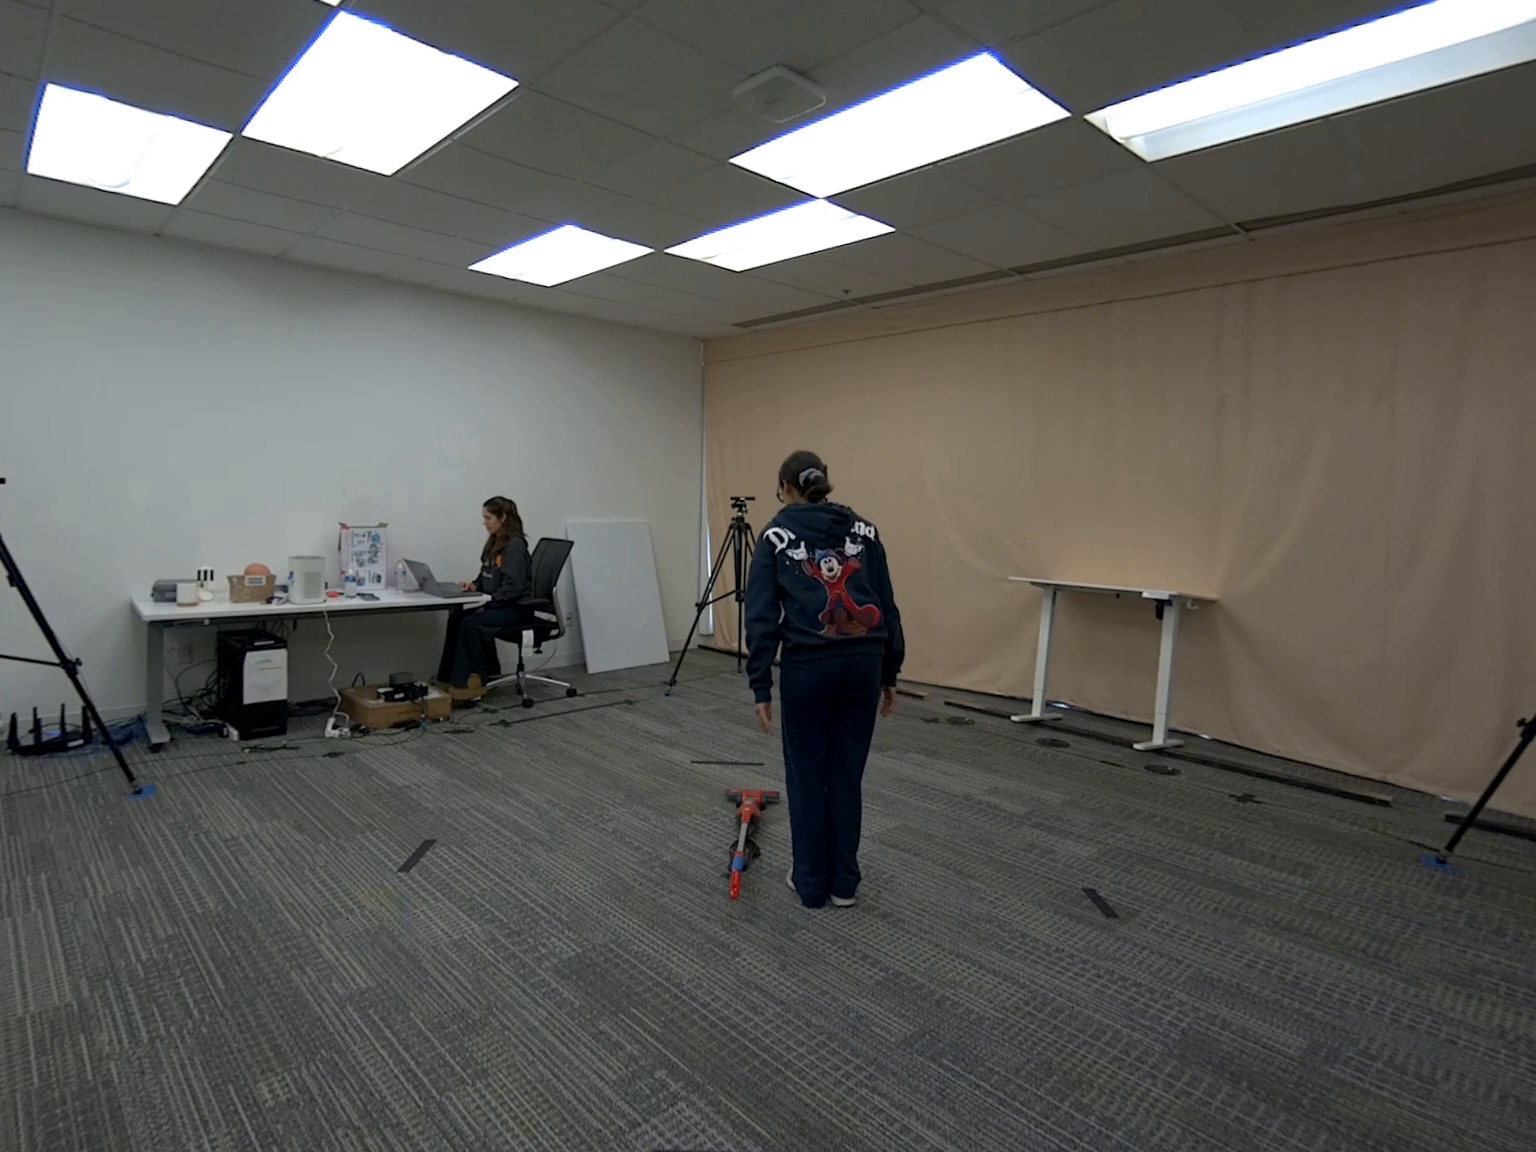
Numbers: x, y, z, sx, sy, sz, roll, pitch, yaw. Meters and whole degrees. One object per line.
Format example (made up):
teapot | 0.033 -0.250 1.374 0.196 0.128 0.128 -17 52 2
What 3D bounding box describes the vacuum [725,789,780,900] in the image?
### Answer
vacuum | -0.104 1.029 3.312 0.253 0.144 1.048 6 3 1
